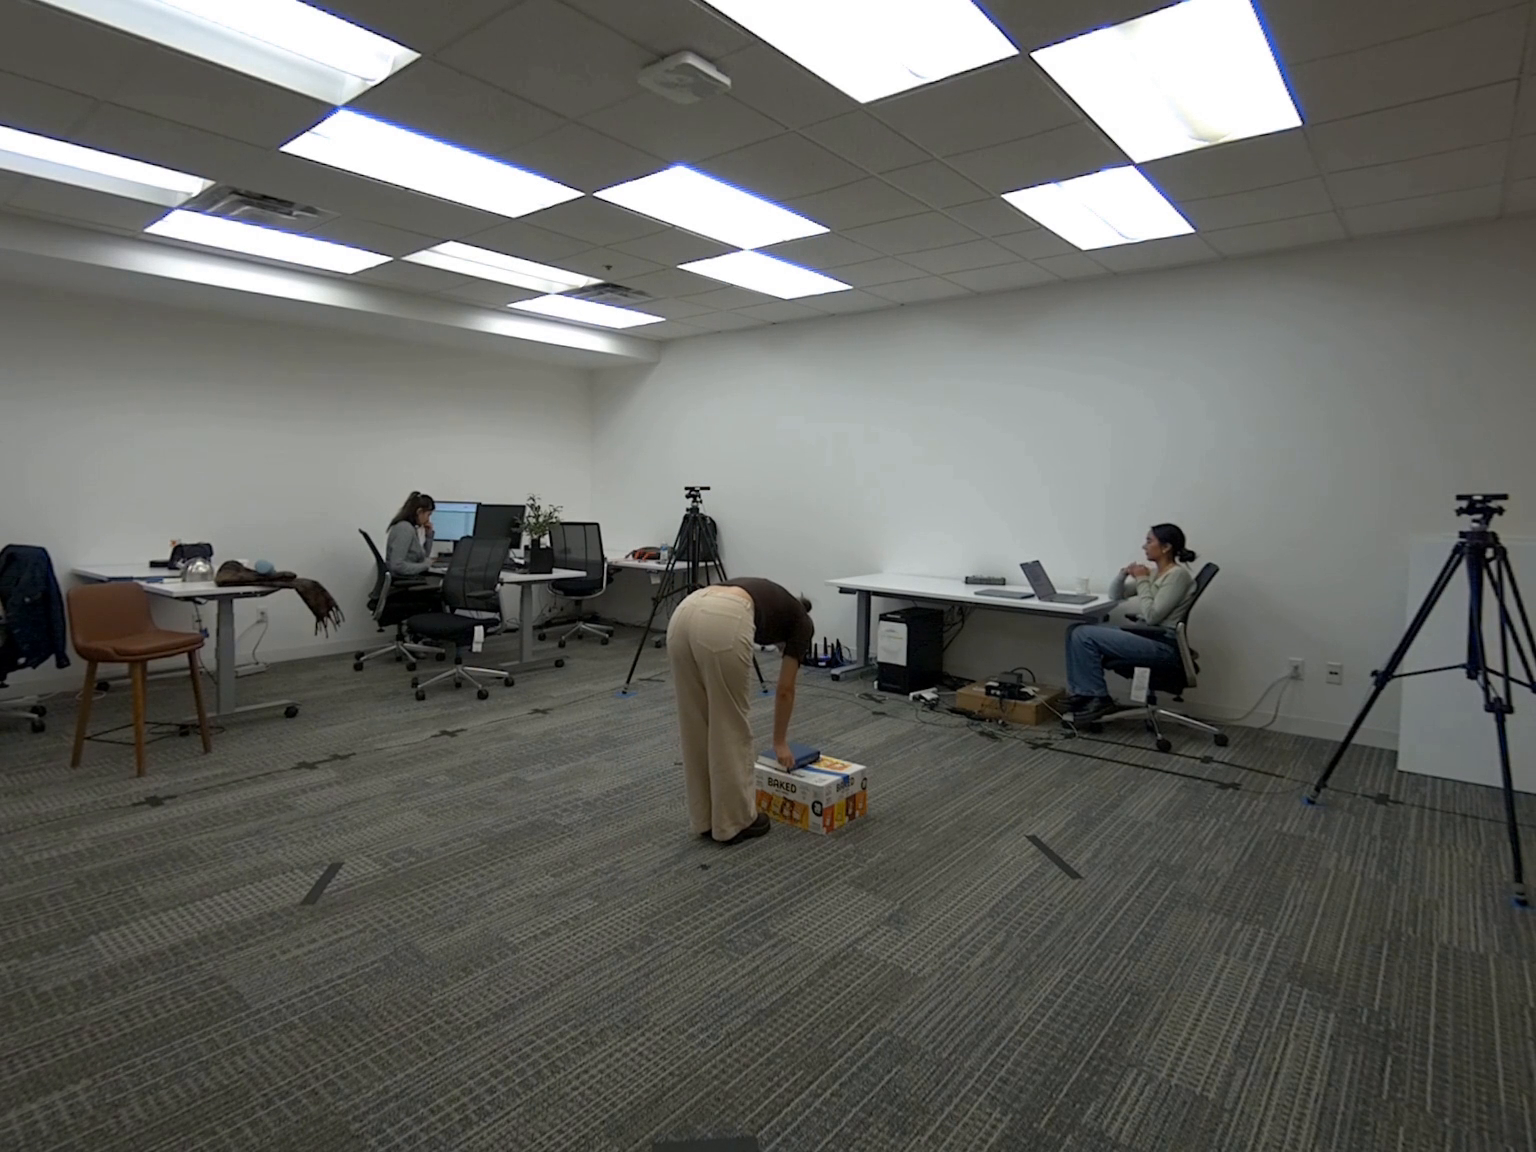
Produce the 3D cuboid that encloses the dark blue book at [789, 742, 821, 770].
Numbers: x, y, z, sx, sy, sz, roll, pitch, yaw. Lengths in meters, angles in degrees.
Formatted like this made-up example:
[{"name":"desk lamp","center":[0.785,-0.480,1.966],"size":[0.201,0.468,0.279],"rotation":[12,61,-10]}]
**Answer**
[{"name":"dark blue book","center":[0.080,0.788,3.726],"size":[0.169,0.045,0.238],"rotation":[9,10,39]}]
